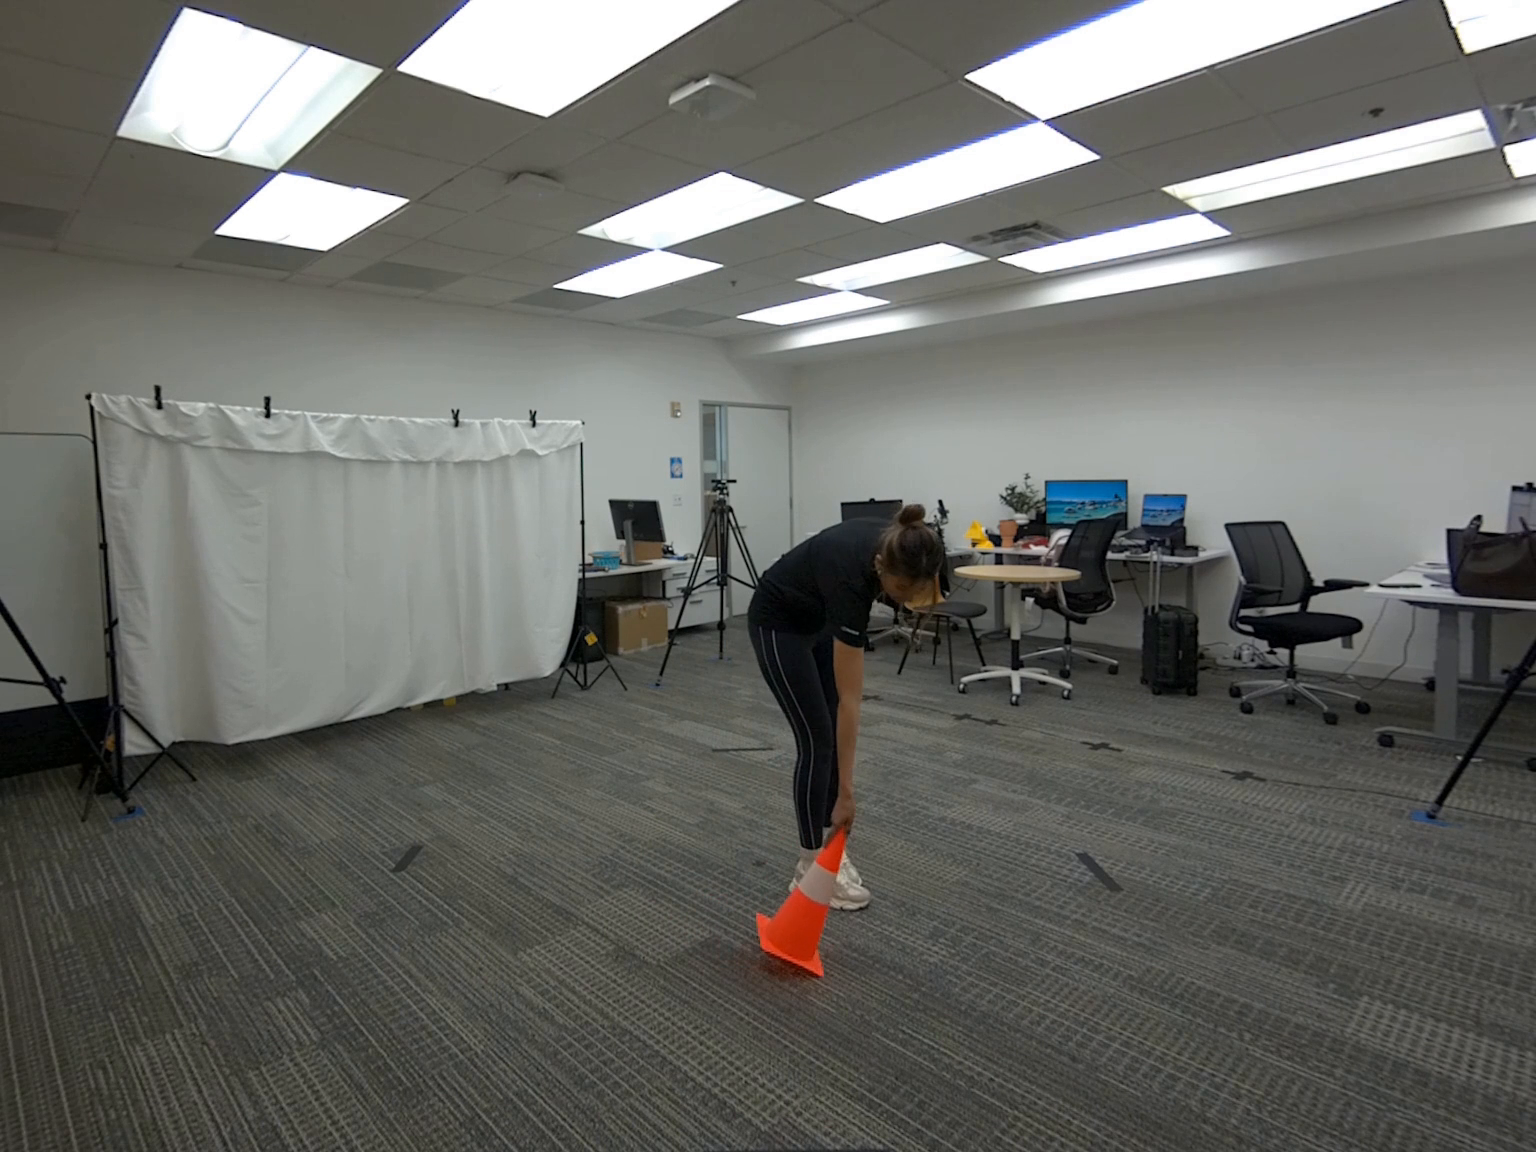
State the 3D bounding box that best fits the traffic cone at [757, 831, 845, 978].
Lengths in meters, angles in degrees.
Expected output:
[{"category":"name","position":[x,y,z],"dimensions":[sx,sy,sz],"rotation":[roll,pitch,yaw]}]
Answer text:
[{"category":"traffic cone","position":[0.155,0.911,2.474],"dimensions":[0.204,0.383,0.204],"rotation":[25,3,-4]}]
